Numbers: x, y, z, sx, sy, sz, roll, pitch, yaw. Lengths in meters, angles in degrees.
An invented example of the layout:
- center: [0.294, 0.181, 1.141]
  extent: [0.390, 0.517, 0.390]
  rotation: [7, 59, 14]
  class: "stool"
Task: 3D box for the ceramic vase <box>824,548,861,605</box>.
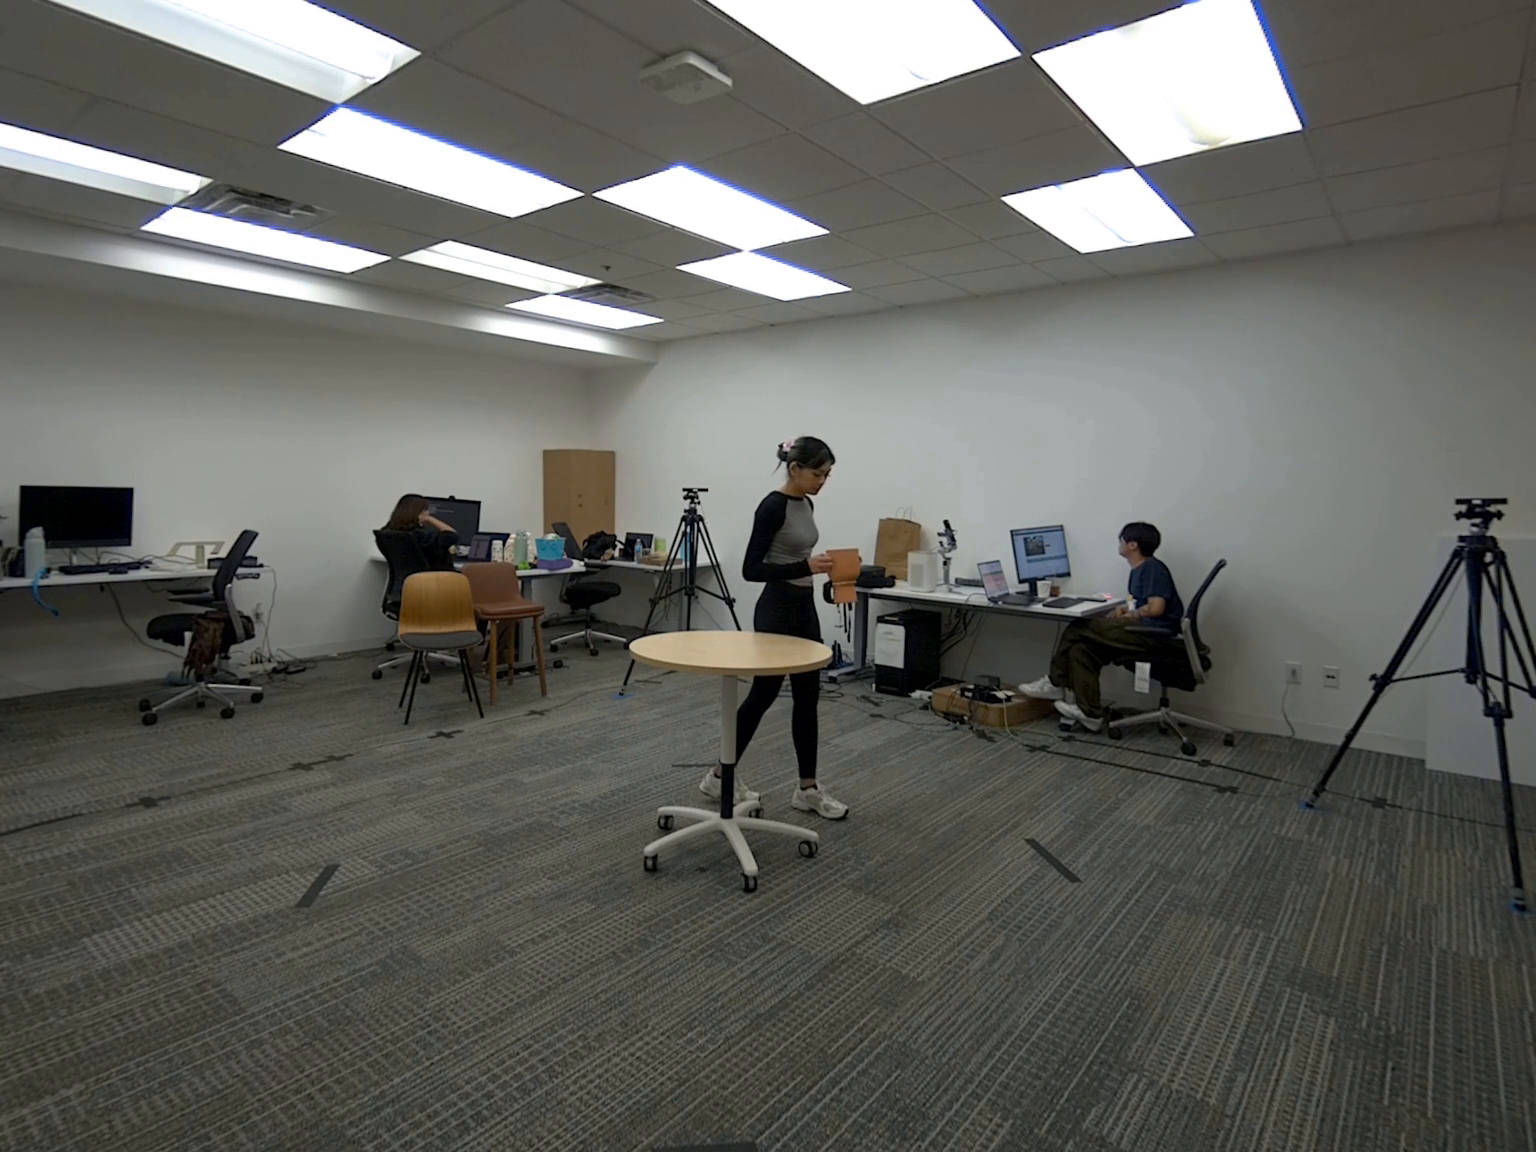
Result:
- center: [0.304, -0.001, 3.505]
  extent: [0.161, 0.220, 0.133]
  rotation: [-2, 0, 12]
  class: "ceramic vase"
